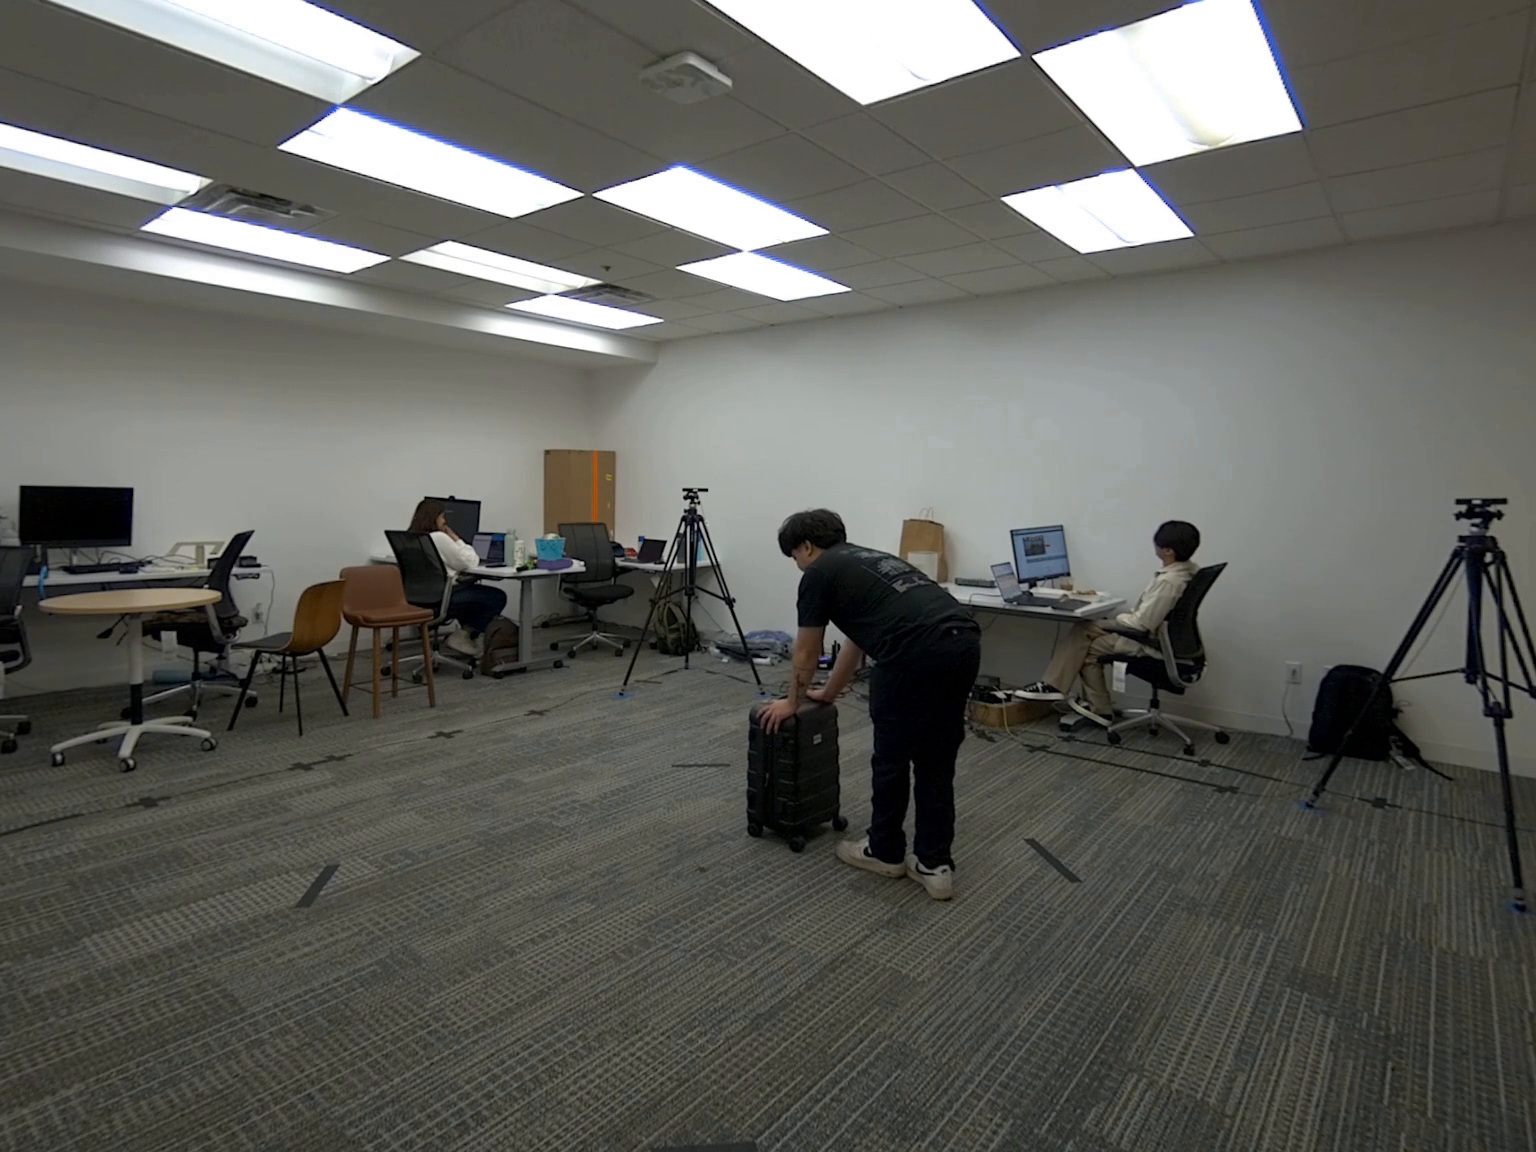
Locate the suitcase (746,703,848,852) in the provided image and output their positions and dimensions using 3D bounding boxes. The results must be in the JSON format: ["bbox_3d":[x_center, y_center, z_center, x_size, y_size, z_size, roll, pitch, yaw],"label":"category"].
[{"bbox_3d":[0.103,0.768,3.470,0.256,0.548,0.364,1,3,39],"label":"suitcase"}]
